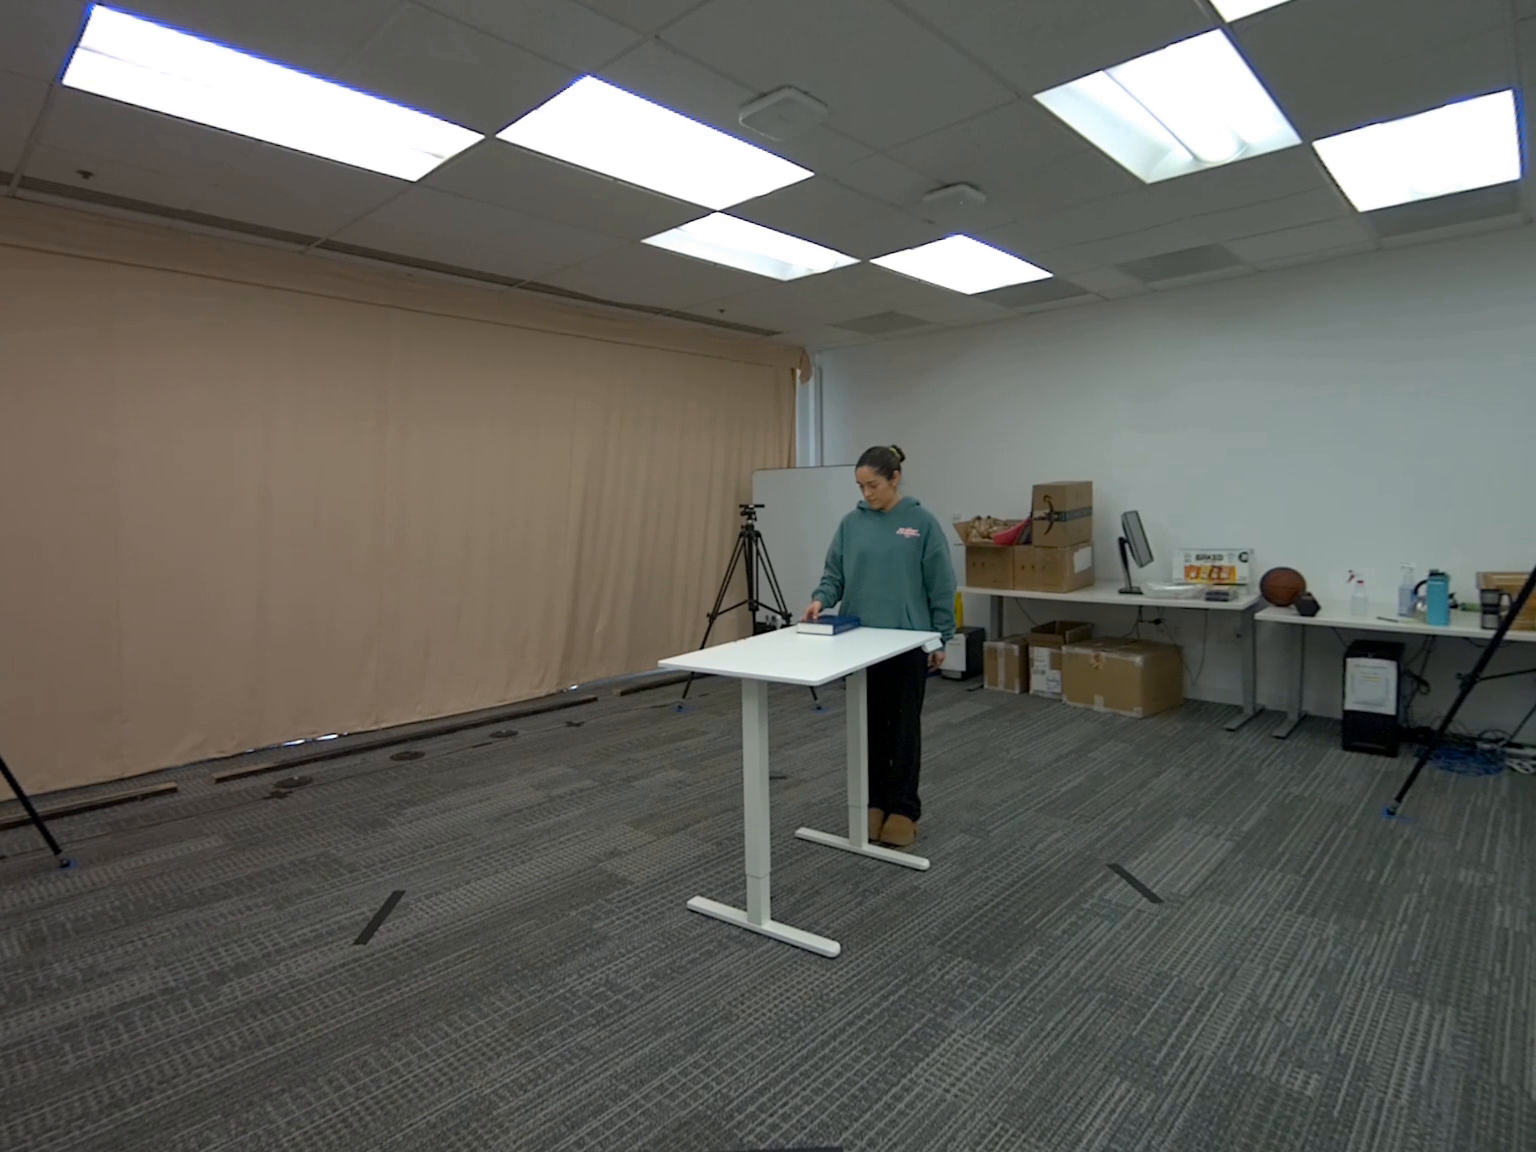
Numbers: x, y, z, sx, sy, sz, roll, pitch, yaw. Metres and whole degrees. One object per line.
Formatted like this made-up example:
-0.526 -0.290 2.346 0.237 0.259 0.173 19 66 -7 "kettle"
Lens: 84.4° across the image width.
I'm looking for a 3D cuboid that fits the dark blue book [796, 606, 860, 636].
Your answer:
0.252 0.197 3.379 0.168 0.045 0.239 3 6 31 "dark blue book"
